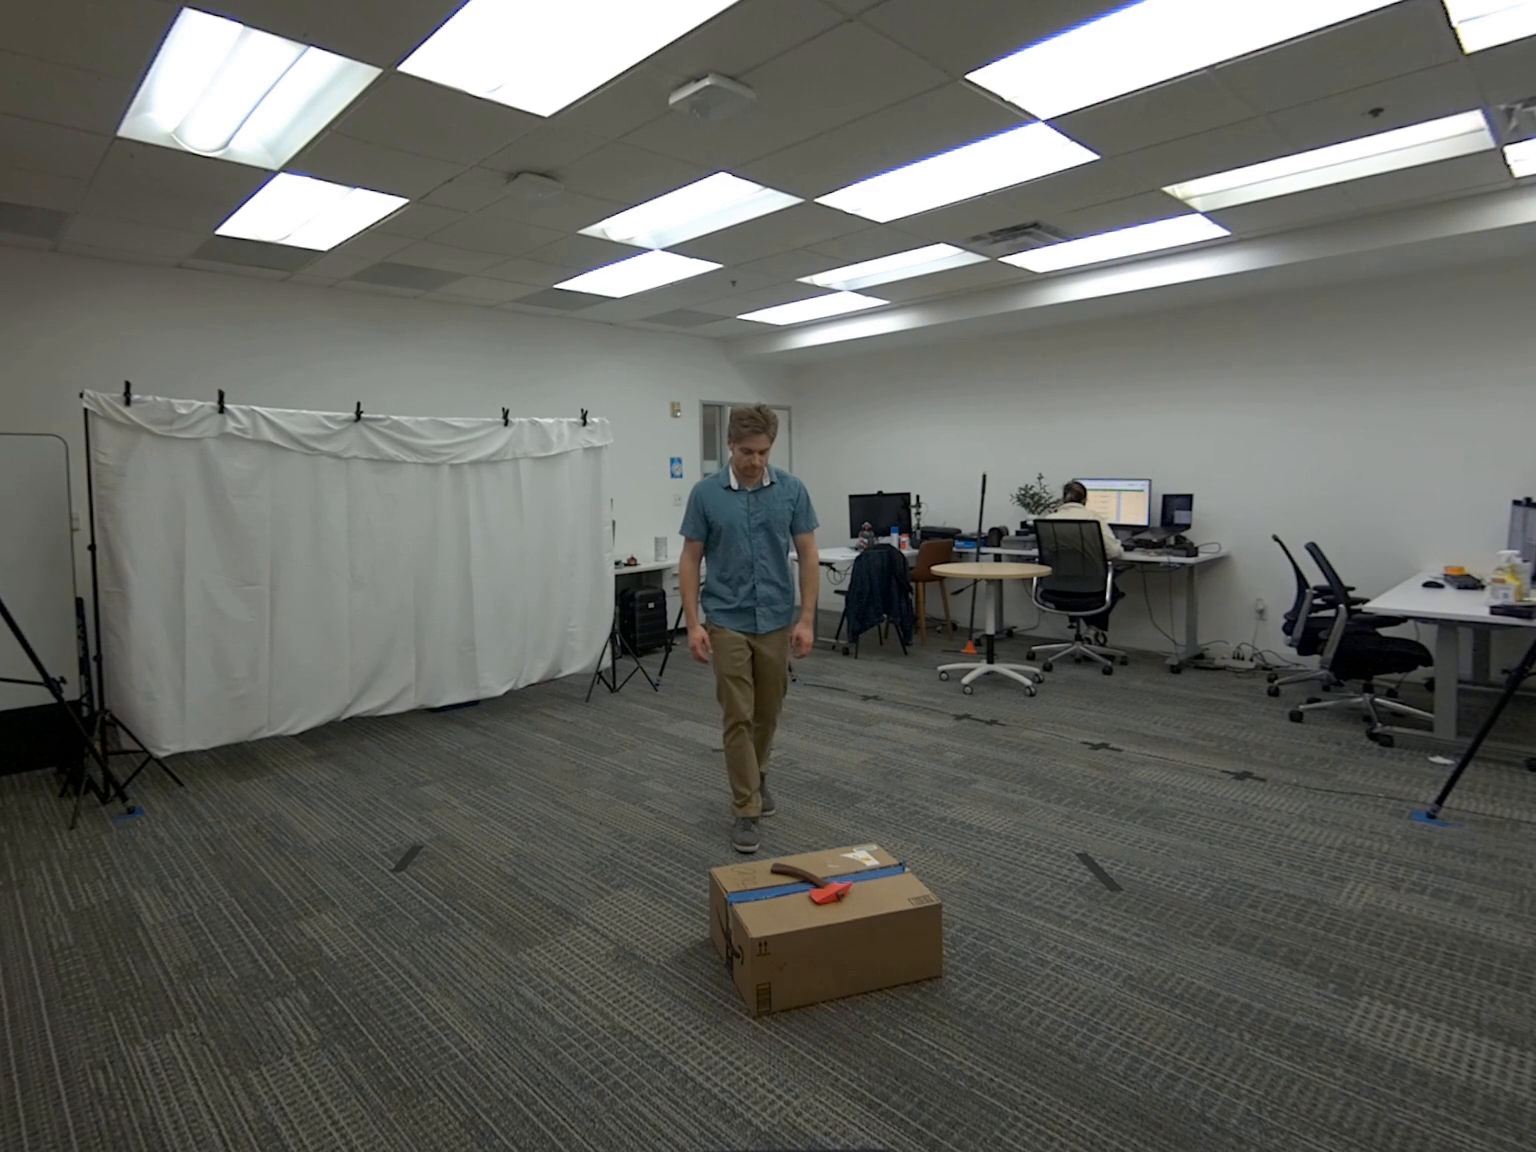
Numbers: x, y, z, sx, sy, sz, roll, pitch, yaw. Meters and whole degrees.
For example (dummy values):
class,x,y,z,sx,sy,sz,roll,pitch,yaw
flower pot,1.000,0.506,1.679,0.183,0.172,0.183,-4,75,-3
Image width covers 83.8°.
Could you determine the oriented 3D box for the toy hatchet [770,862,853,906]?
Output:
class,x,y,z,sx,sy,sz,roll,pitch,yaw
toy hatchet,0.094,0.889,2.469,0.277,0.029,0.128,0,13,37
